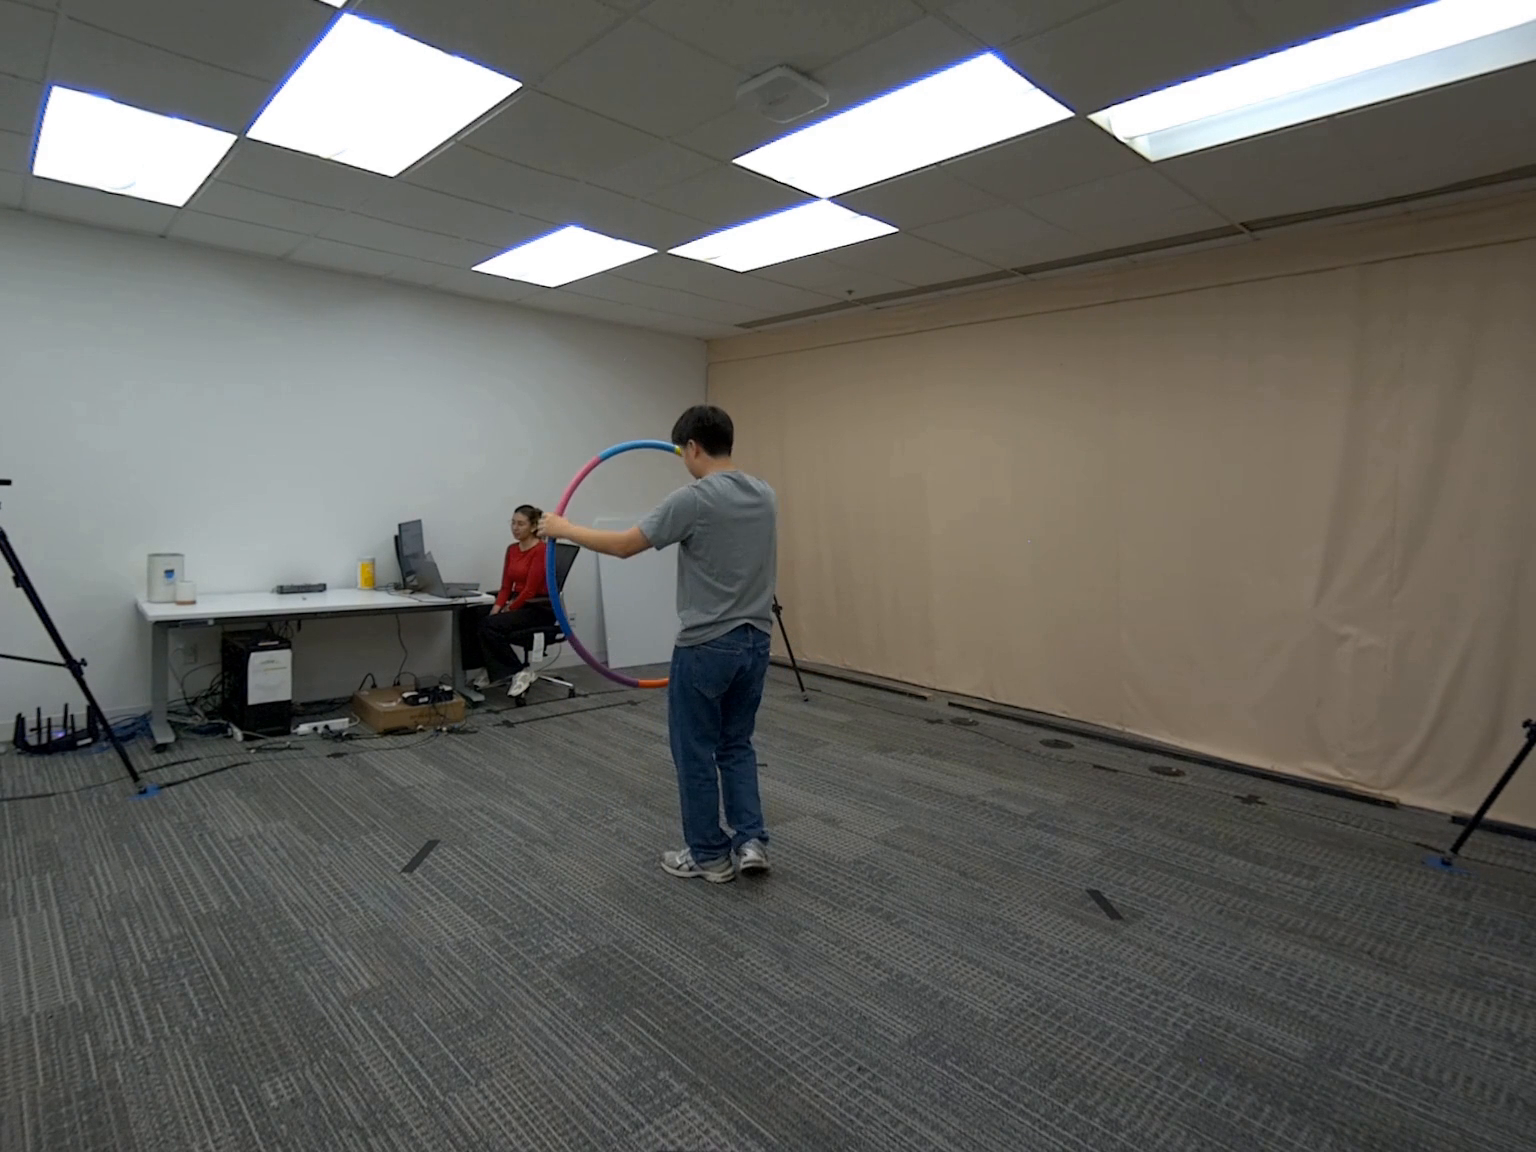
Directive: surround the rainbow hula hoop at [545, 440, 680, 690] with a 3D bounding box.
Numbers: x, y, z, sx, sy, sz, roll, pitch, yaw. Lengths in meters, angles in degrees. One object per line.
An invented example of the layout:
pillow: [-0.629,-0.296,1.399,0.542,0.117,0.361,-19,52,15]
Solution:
rainbow hula hoop: [-0.446,-0.045,3.373,0.956,0.980,0.036,-2,-2,-40]
